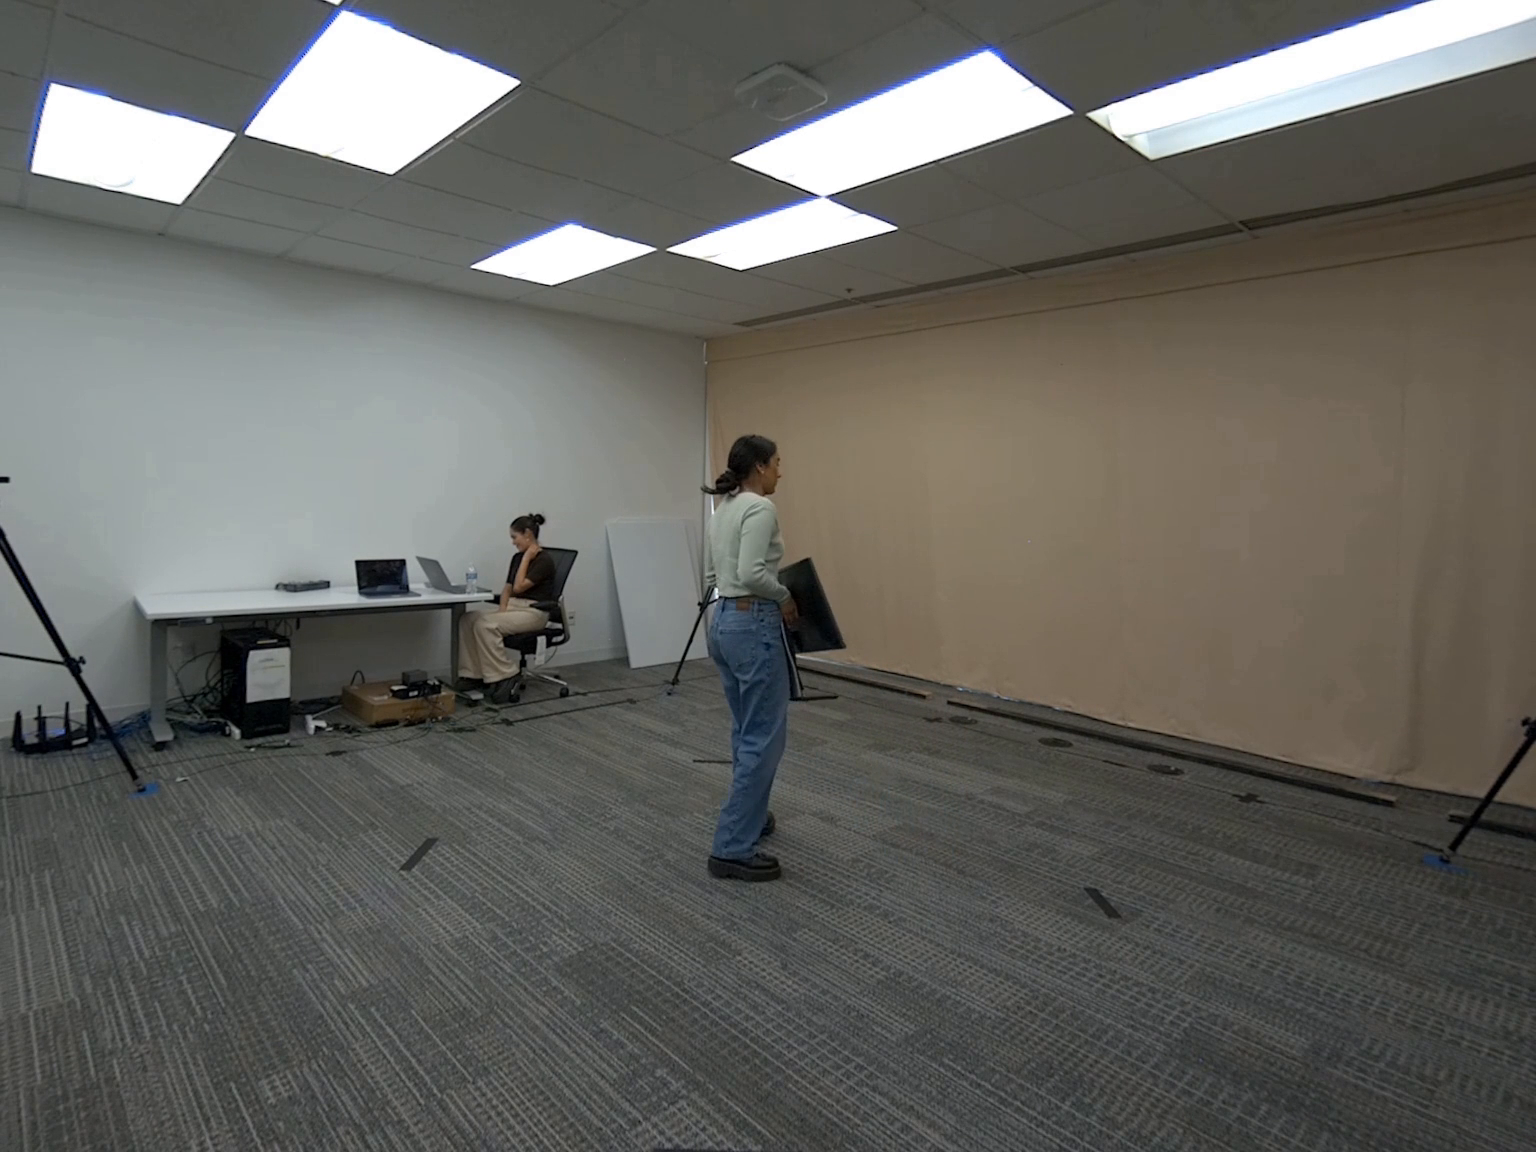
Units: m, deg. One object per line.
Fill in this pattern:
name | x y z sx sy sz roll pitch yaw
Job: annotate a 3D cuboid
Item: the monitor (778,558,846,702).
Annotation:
monitor | 0.114 0.211 3.263 0.172 0.519 0.533 1 -8 -16
